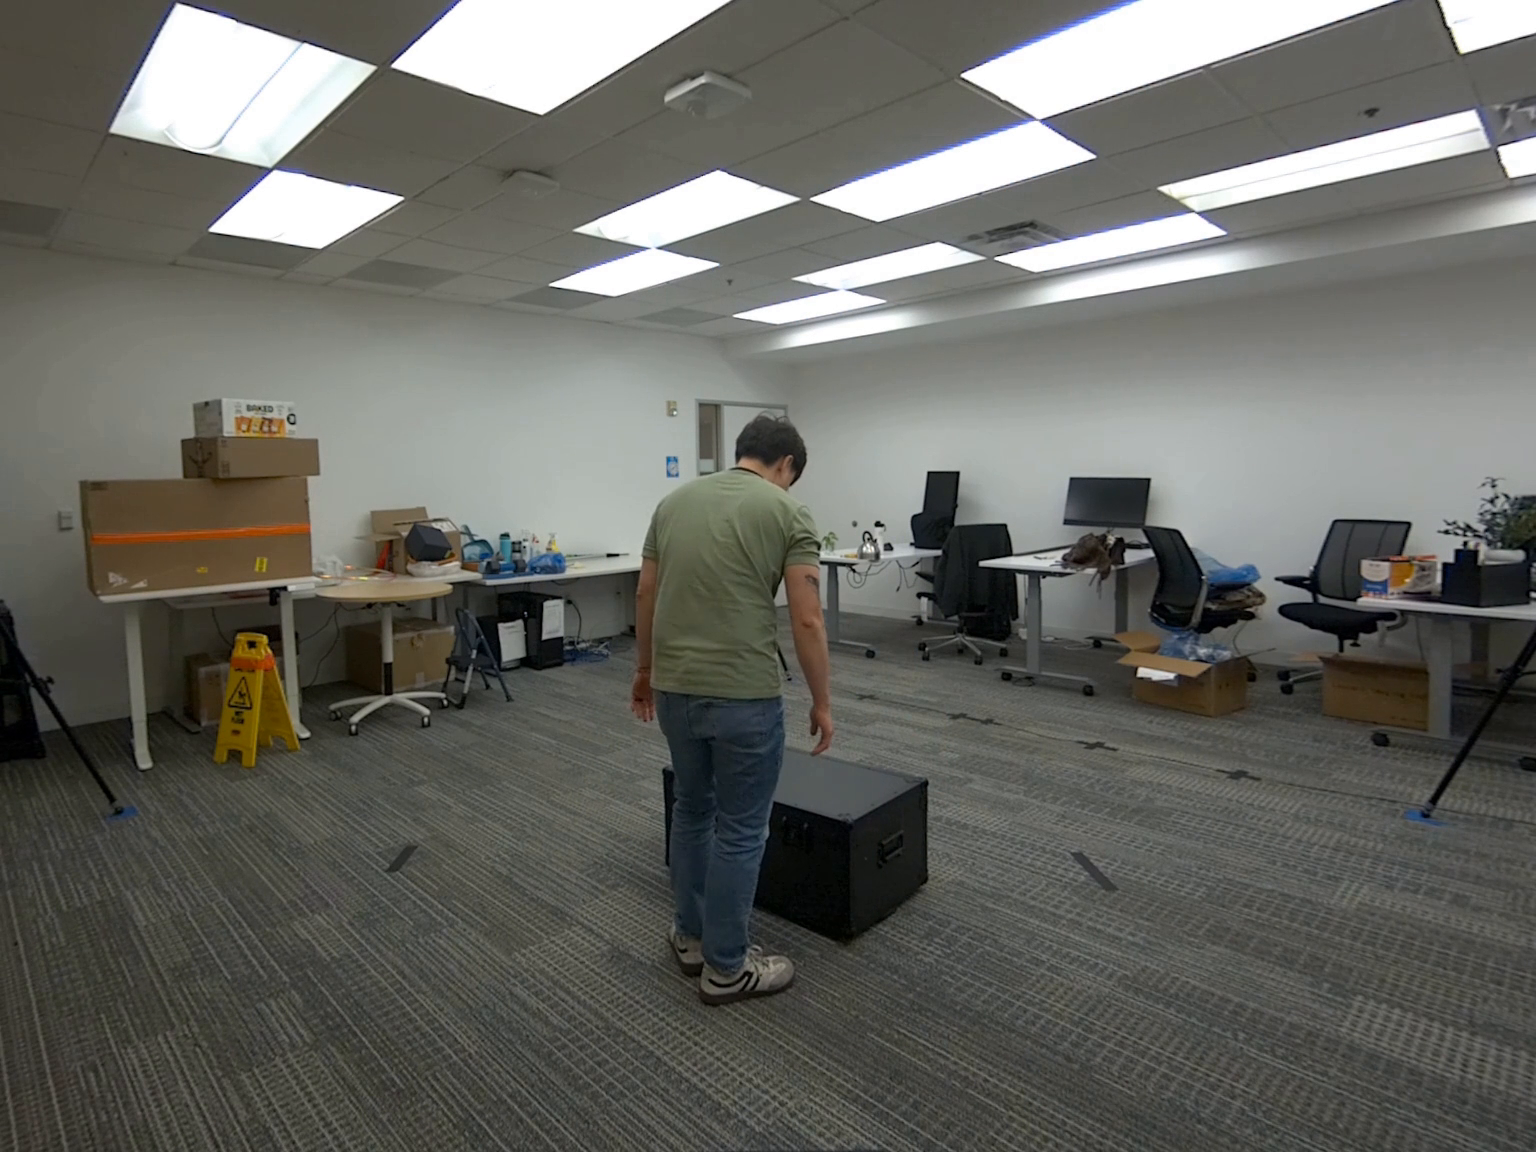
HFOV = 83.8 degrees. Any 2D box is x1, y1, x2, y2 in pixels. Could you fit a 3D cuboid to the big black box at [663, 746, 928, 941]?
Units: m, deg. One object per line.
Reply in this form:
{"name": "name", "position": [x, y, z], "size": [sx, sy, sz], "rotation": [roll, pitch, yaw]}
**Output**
{"name": "big black box", "position": [0.062, 0.864, 2.981], "size": [0.888, 0.394, 0.508], "rotation": [5, 8, 40]}
